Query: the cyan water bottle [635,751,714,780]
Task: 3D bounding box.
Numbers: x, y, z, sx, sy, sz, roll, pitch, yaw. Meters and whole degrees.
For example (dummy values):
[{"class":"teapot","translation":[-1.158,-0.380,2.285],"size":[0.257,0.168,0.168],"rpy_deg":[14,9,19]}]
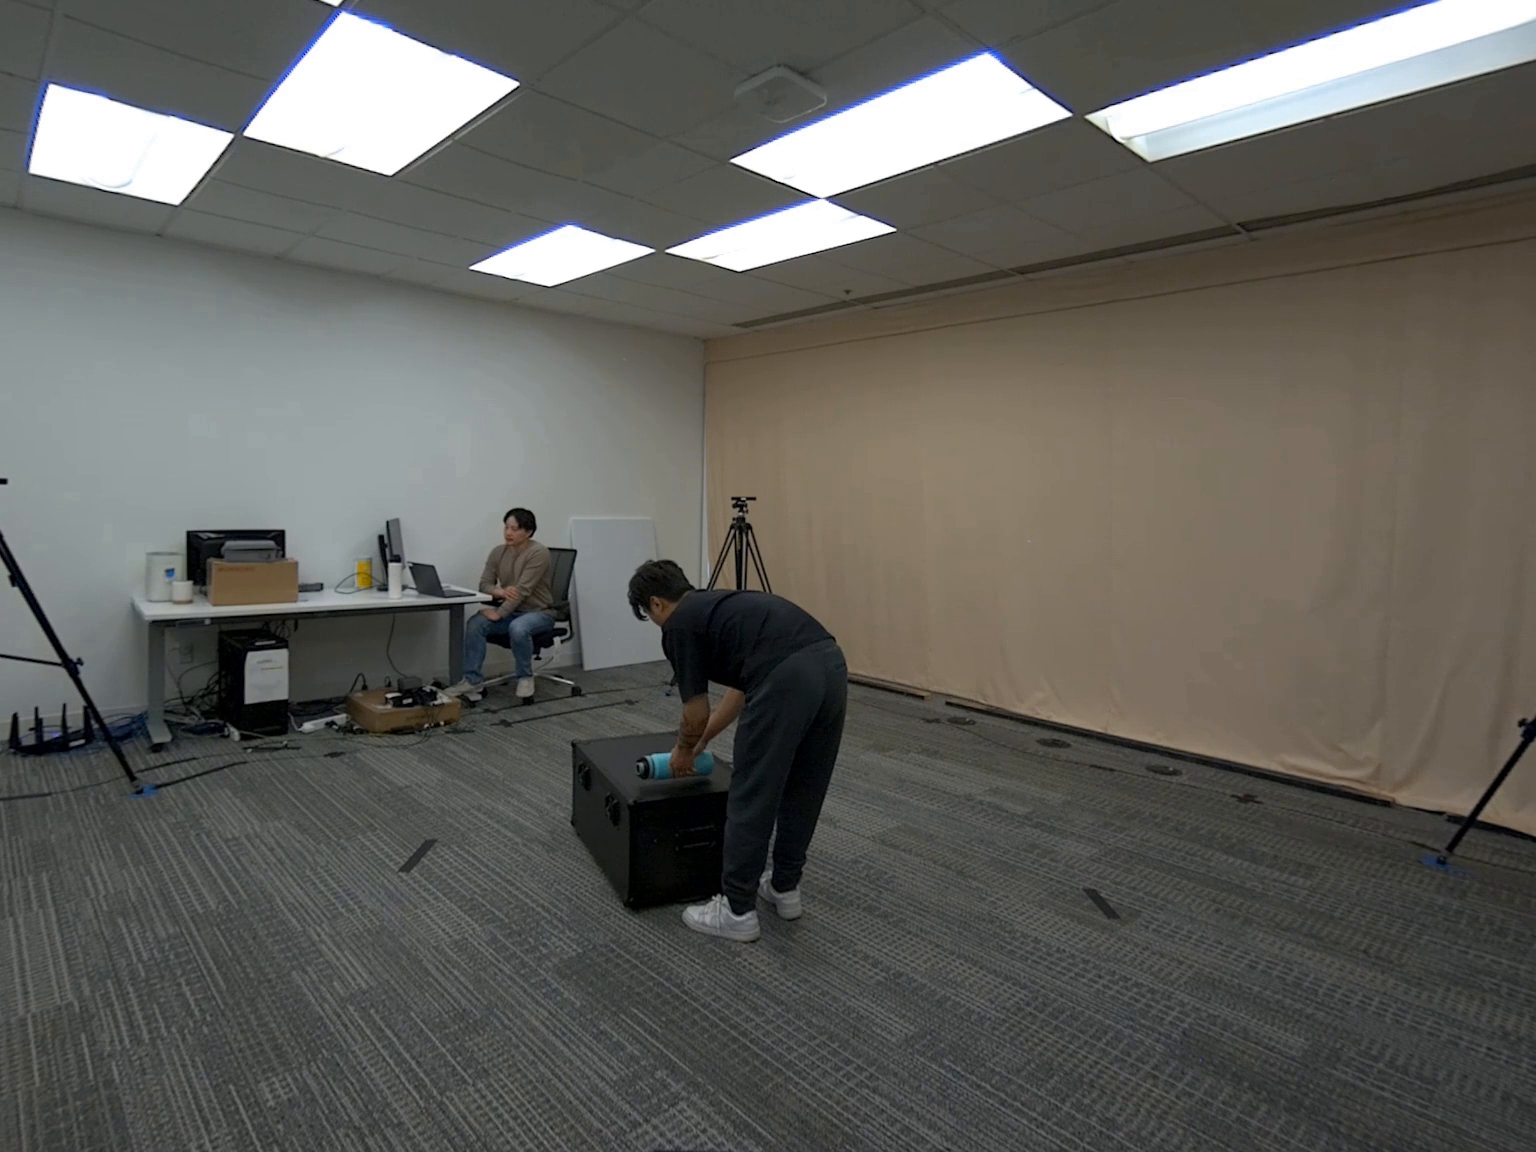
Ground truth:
[{"class":"cyan water bottle","translation":[-0.345,0.677,3.003],"size":[0.278,0.092,0.094],"rpy_deg":[1,4,-28]}]
